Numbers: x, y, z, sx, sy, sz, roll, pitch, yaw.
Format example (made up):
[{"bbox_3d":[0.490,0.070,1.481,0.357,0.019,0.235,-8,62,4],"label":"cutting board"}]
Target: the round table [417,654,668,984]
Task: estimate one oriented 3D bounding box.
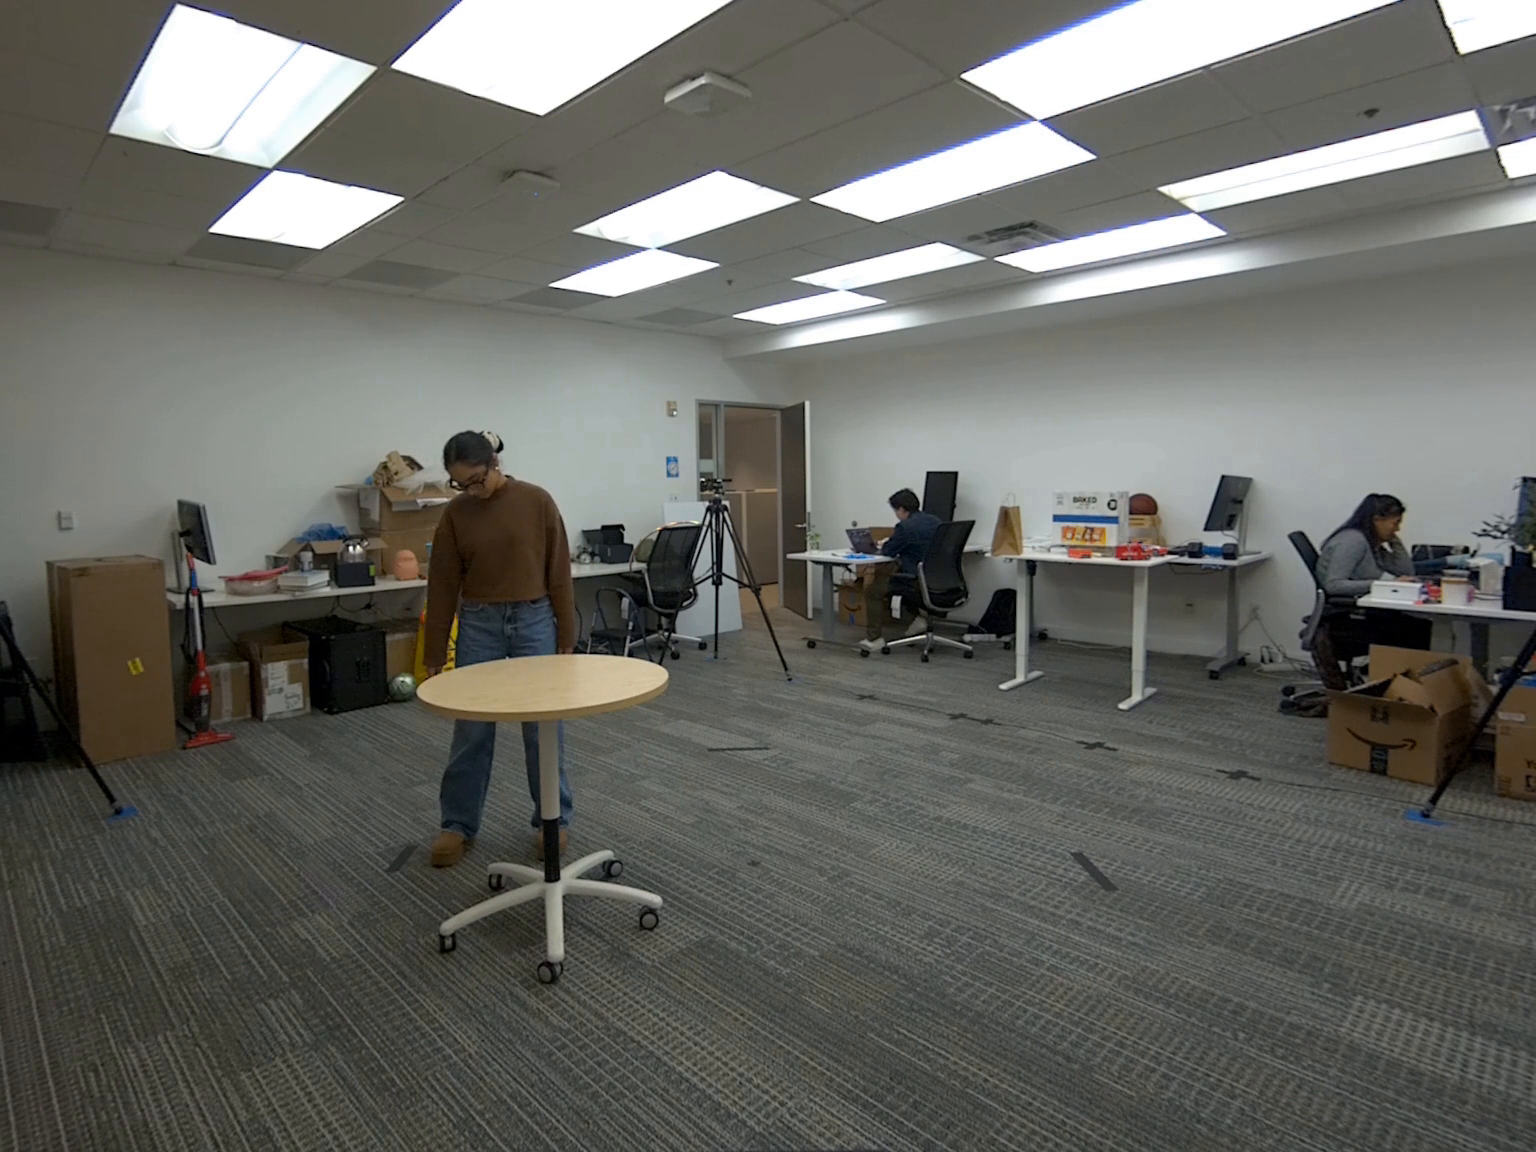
[{"bbox_3d":[-0.683,0.714,2.698,0.763,0.791,0.768,-1,5,-2],"label":"round table"}]
